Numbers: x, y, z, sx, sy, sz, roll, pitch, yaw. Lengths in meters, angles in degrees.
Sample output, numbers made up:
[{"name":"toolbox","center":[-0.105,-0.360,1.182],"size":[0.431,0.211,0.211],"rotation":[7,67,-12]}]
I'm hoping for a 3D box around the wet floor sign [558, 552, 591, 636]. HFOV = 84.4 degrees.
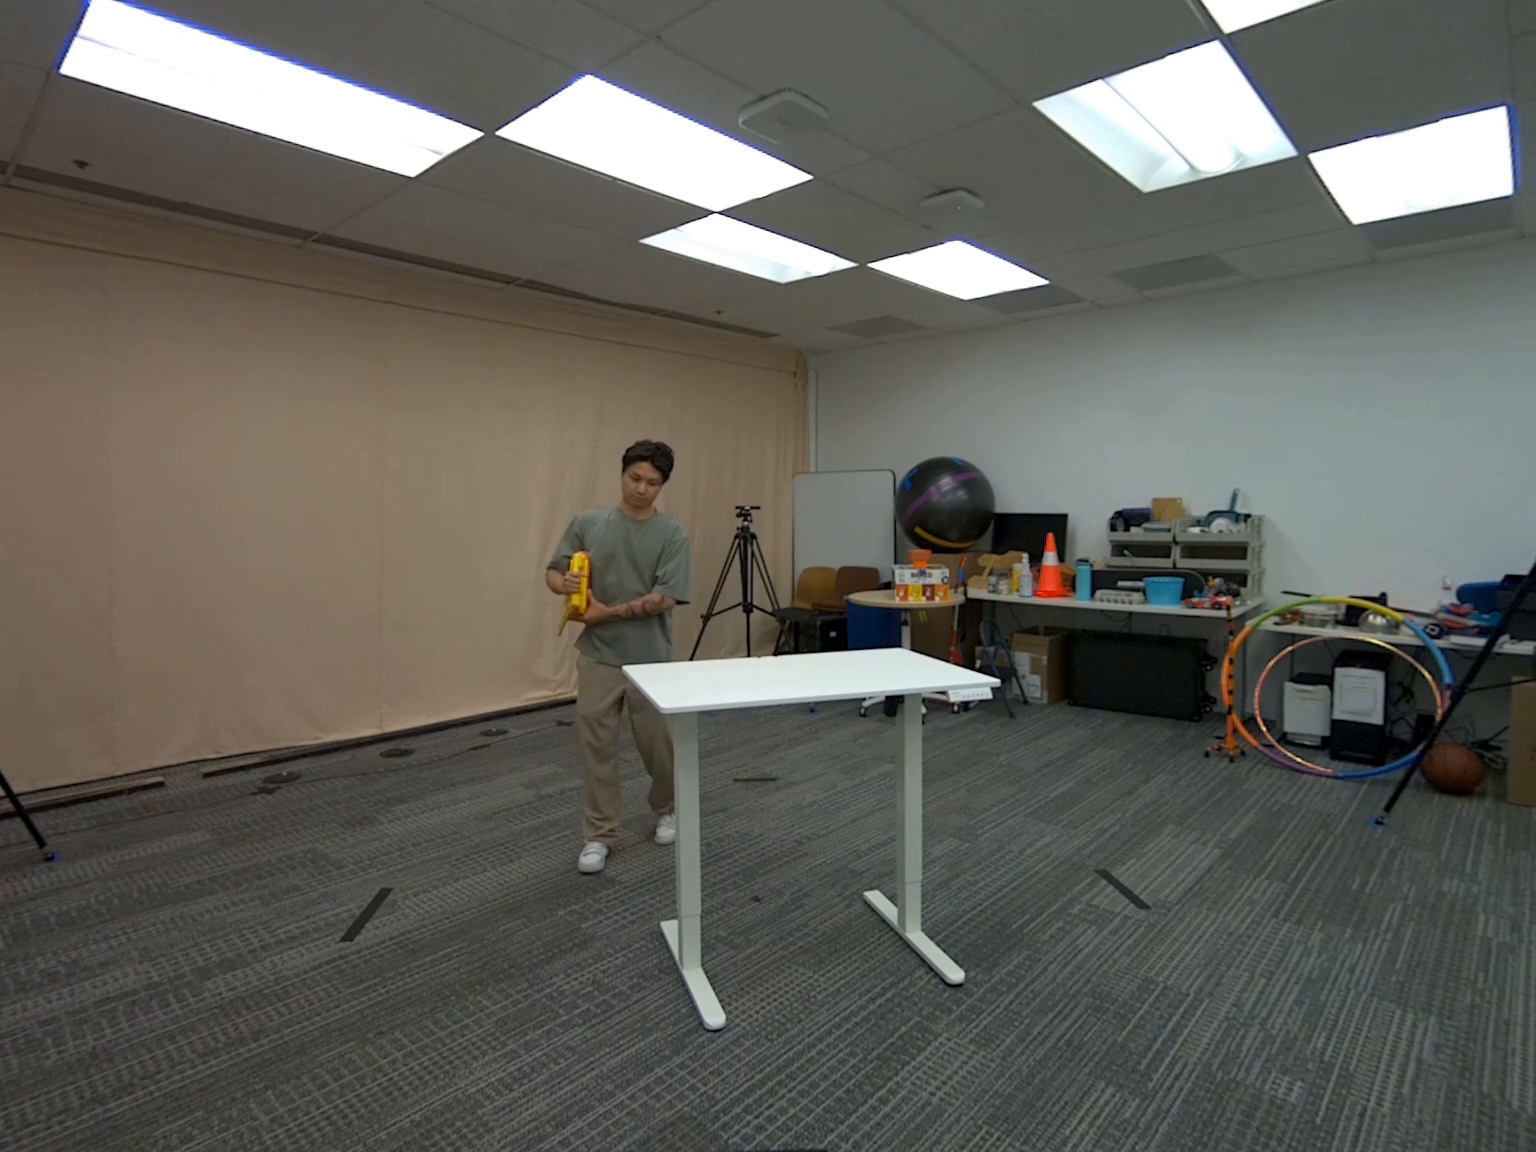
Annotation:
[{"name":"wet floor sign","center":[-0.753,0.080,3.438],"size":[0.287,0.284,0.646],"rotation":[4,-12,-9]}]
